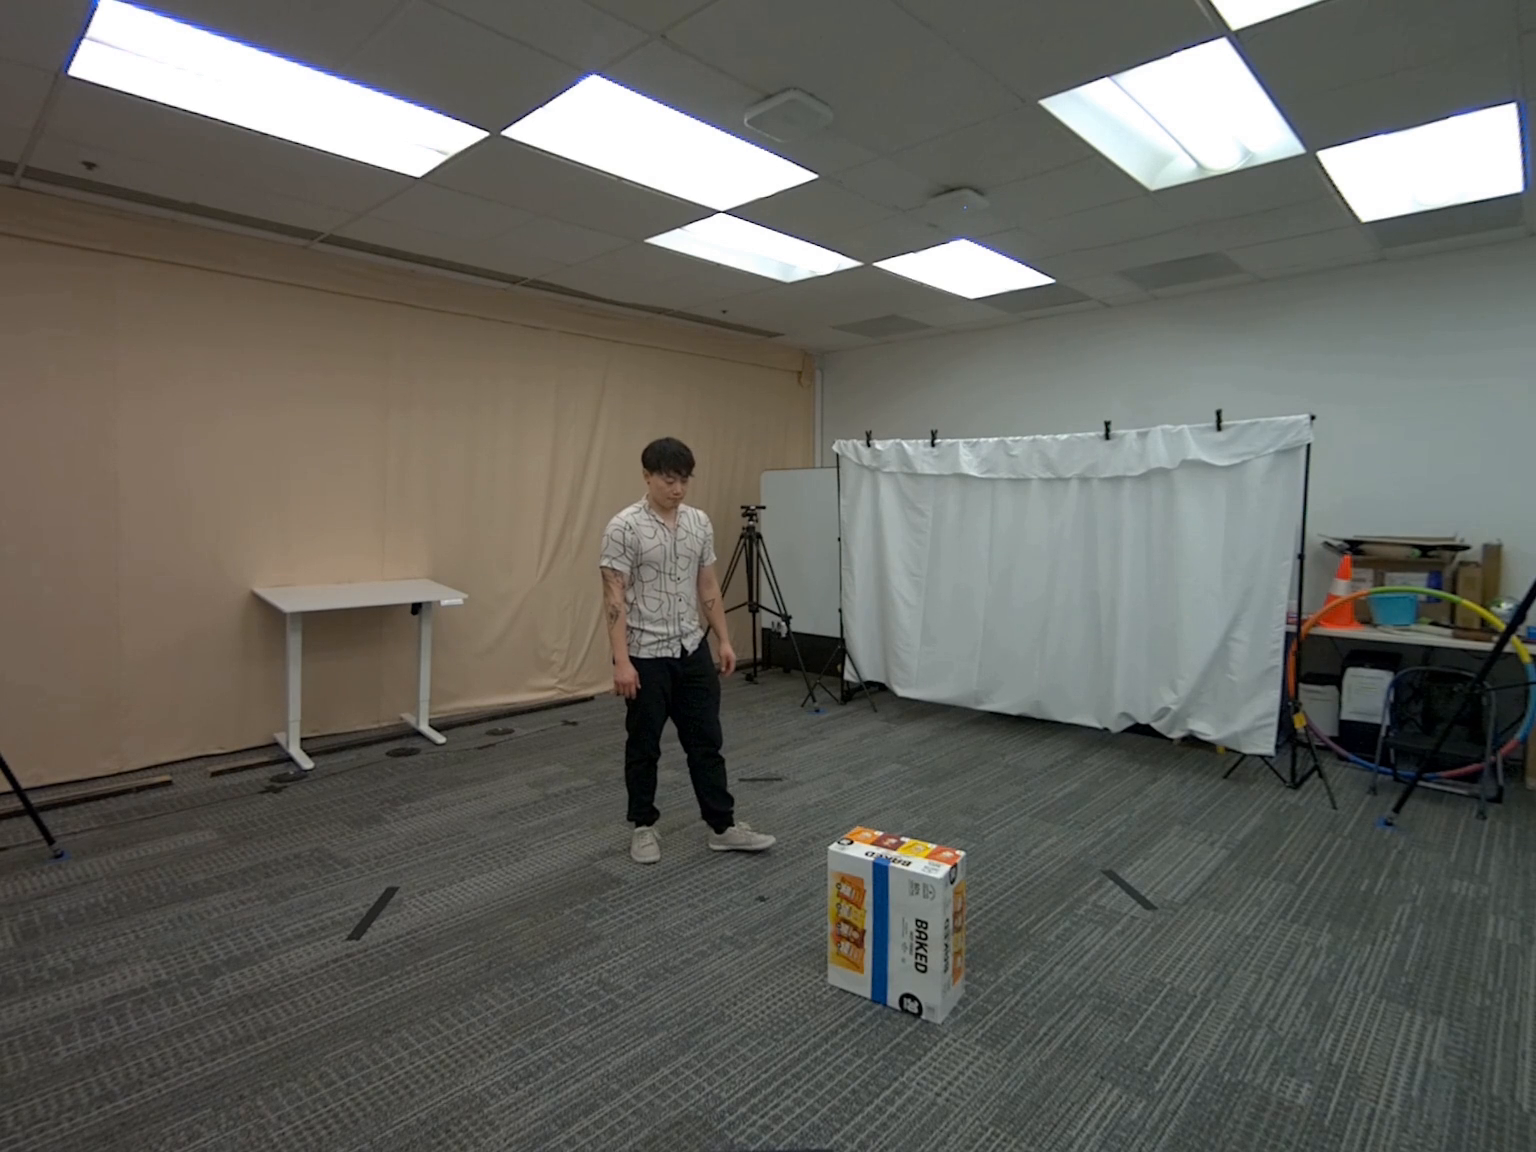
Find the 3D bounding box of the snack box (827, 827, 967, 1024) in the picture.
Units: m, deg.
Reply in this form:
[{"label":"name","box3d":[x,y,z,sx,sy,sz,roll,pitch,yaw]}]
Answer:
[{"label":"snack box","box3d":[0.377,0.987,2.416,0.351,0.404,0.200,2,4,34]}]
